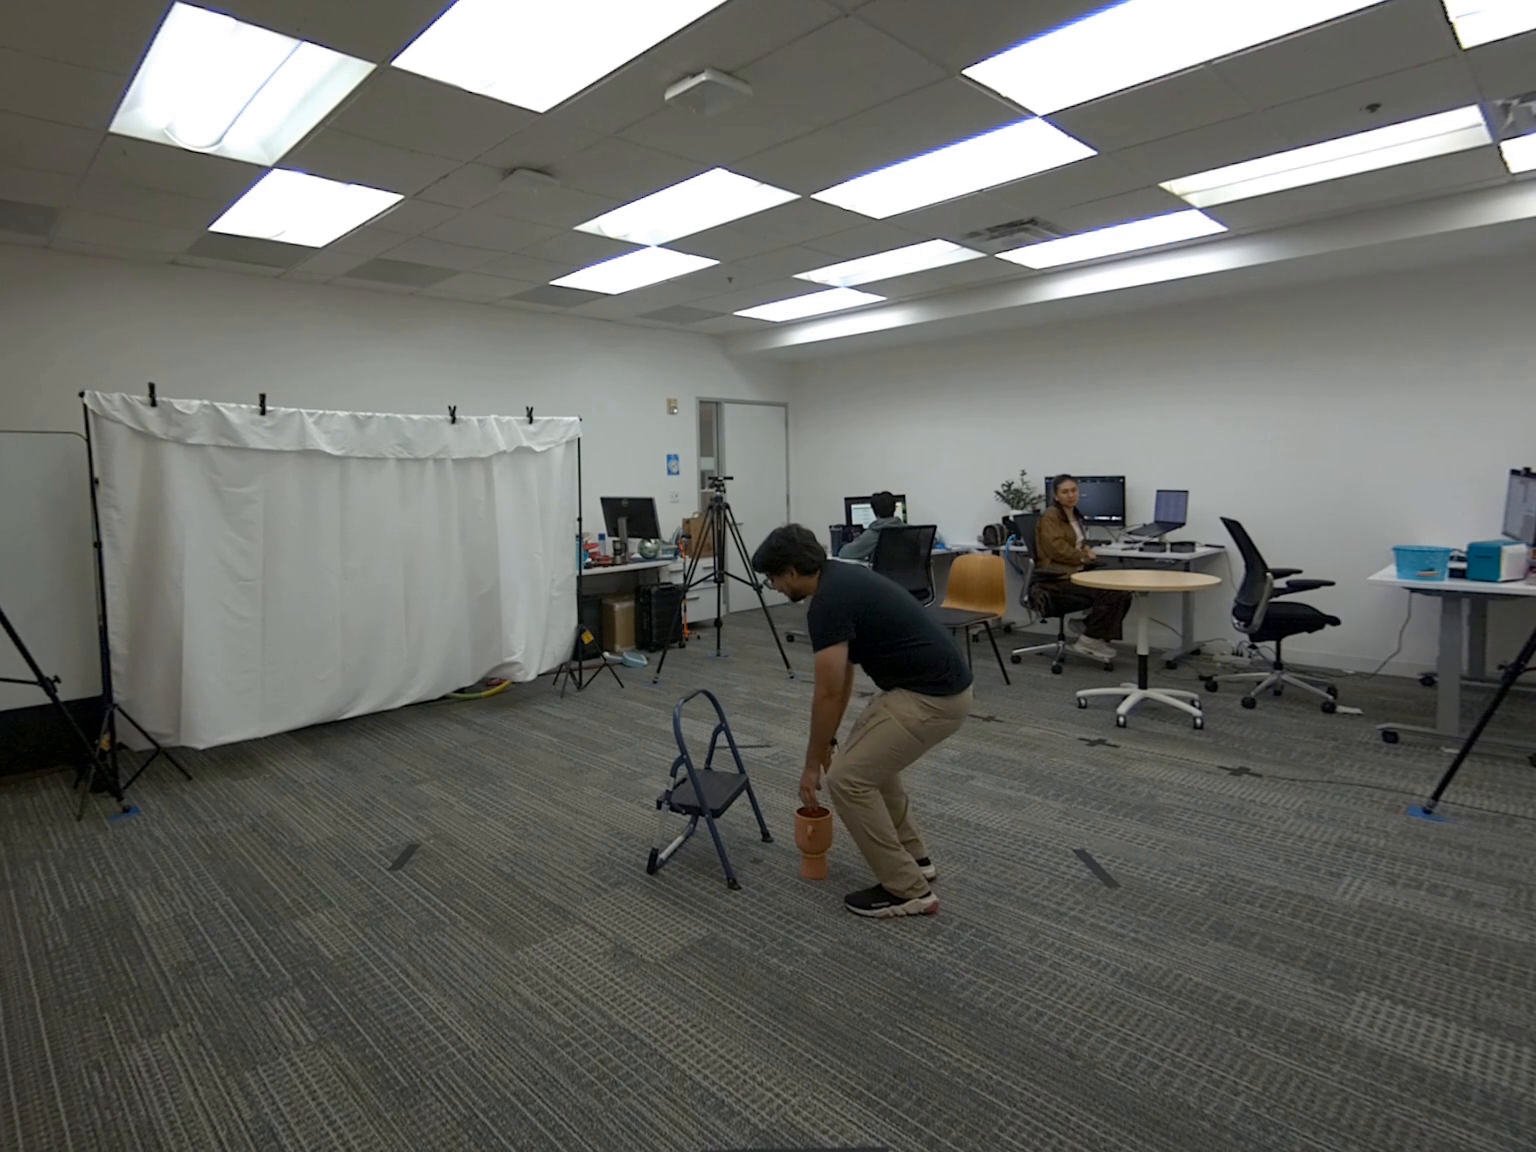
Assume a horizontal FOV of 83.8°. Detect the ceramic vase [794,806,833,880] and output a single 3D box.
[{"bbox_3d":[0.167,0.927,2.991,0.154,0.219,0.139,-4,5,-39],"label":"ceramic vase"}]
